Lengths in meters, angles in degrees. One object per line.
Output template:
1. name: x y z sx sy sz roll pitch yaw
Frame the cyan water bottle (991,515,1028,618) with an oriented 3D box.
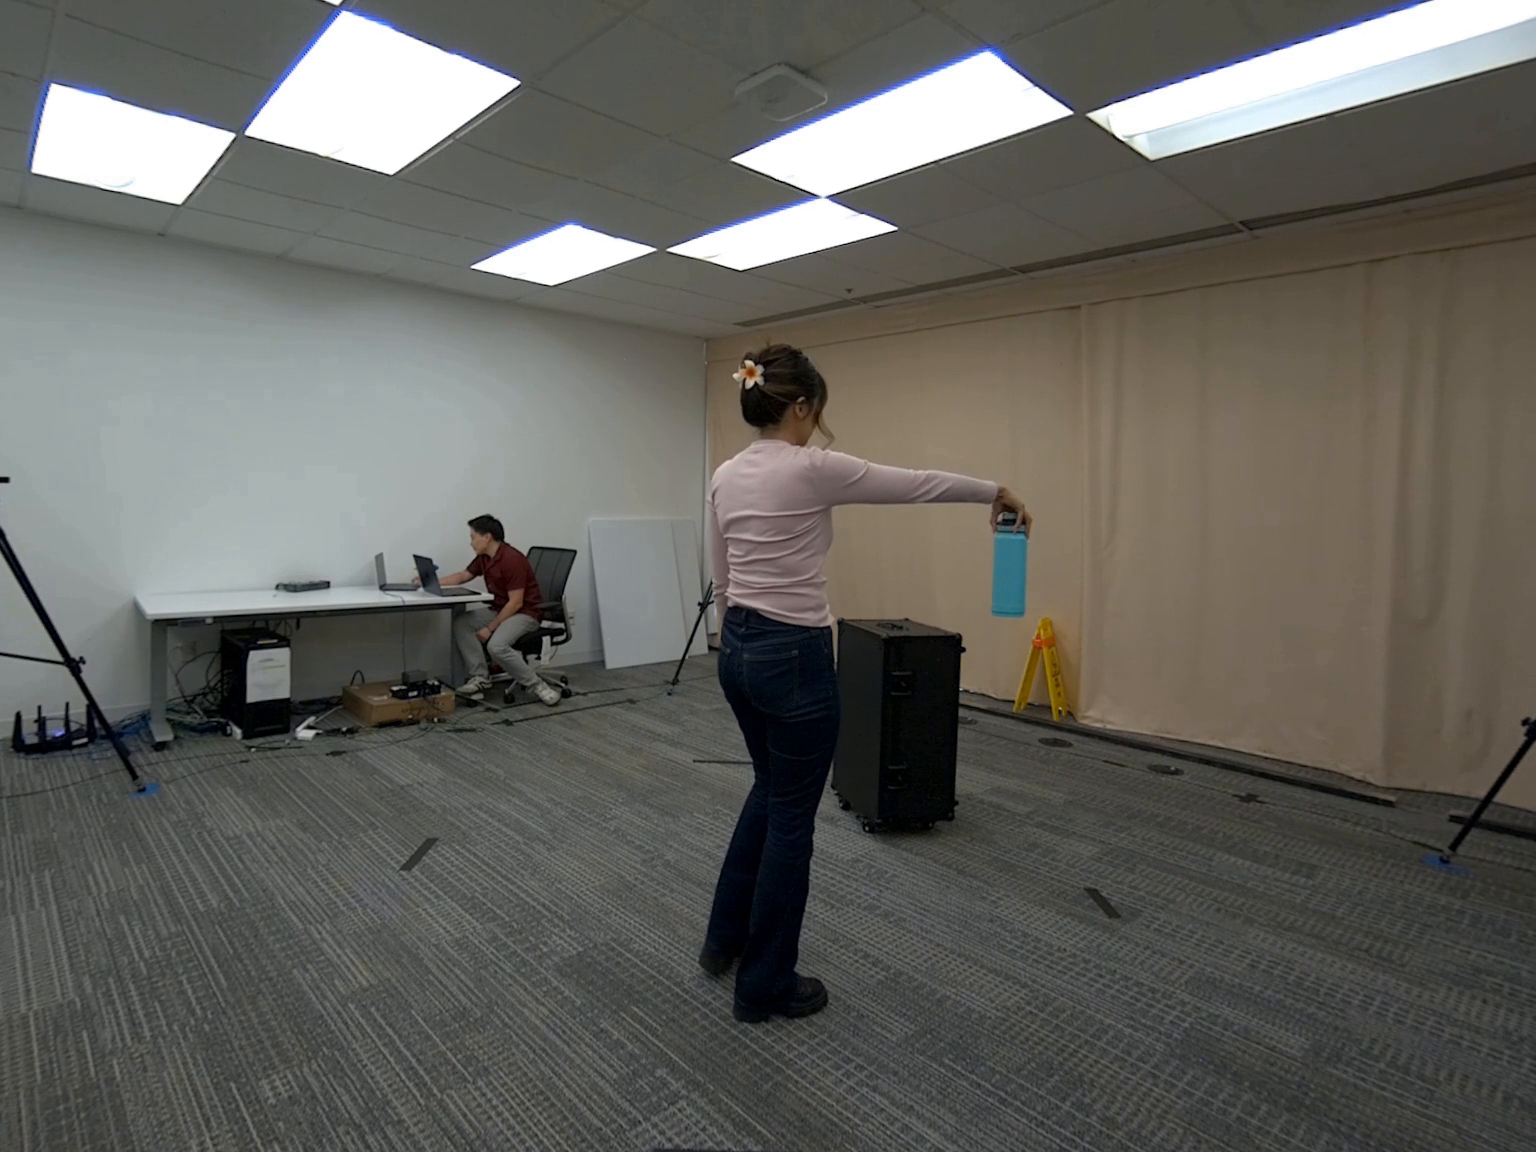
1. cyan water bottle: 0.666 -0.032 2.331 0.092 0.283 0.092 1 3 -1
